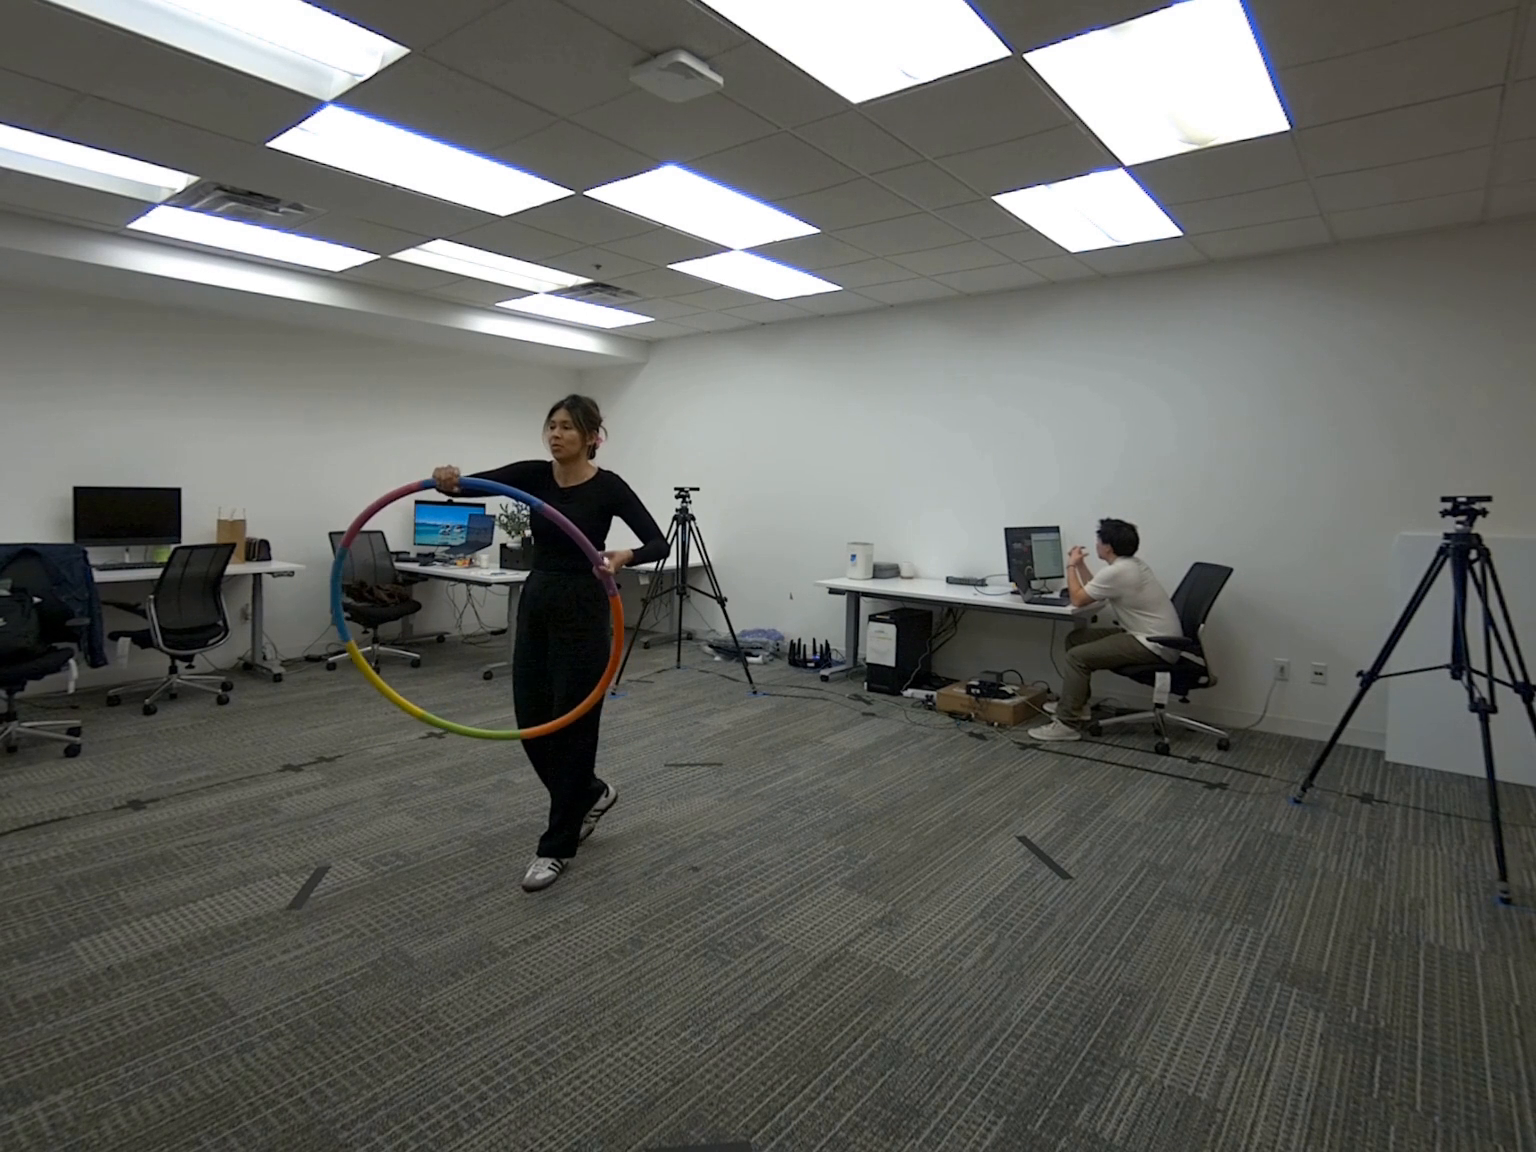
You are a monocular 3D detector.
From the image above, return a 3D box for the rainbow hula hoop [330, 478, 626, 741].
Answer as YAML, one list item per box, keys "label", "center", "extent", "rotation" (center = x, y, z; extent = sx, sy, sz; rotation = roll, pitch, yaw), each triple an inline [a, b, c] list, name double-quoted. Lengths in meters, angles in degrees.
- label: "rainbow hula hoop"
  center: [-0.974, 0.133, 2.794]
  extent: [0.990, 0.964, 0.052]
  rotation: [2, 24, 5]
